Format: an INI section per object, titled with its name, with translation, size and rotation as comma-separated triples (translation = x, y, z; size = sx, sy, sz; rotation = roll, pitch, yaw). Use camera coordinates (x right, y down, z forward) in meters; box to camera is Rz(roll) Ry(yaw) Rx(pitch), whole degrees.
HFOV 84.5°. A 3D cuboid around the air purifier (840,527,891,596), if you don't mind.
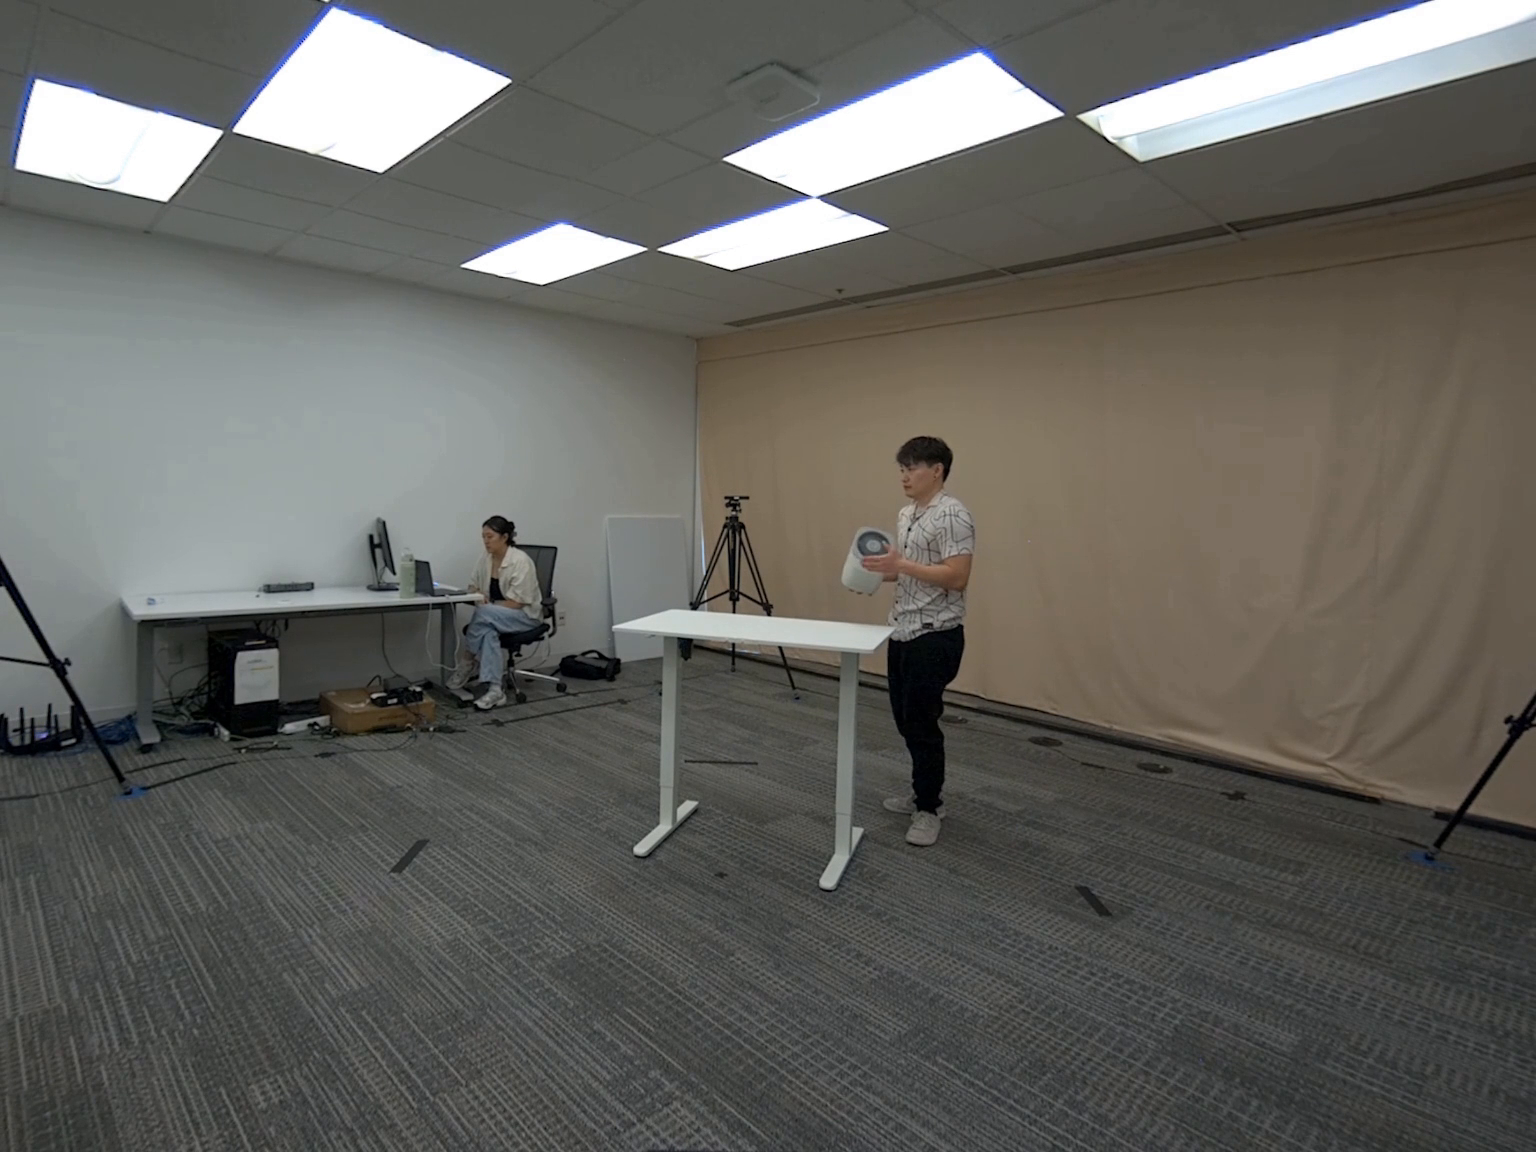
[air purifier]
translation = 0.417, -0.063, 3.588
size = 0.172, 0.173, 0.261
rotation = 17, -32, 3
